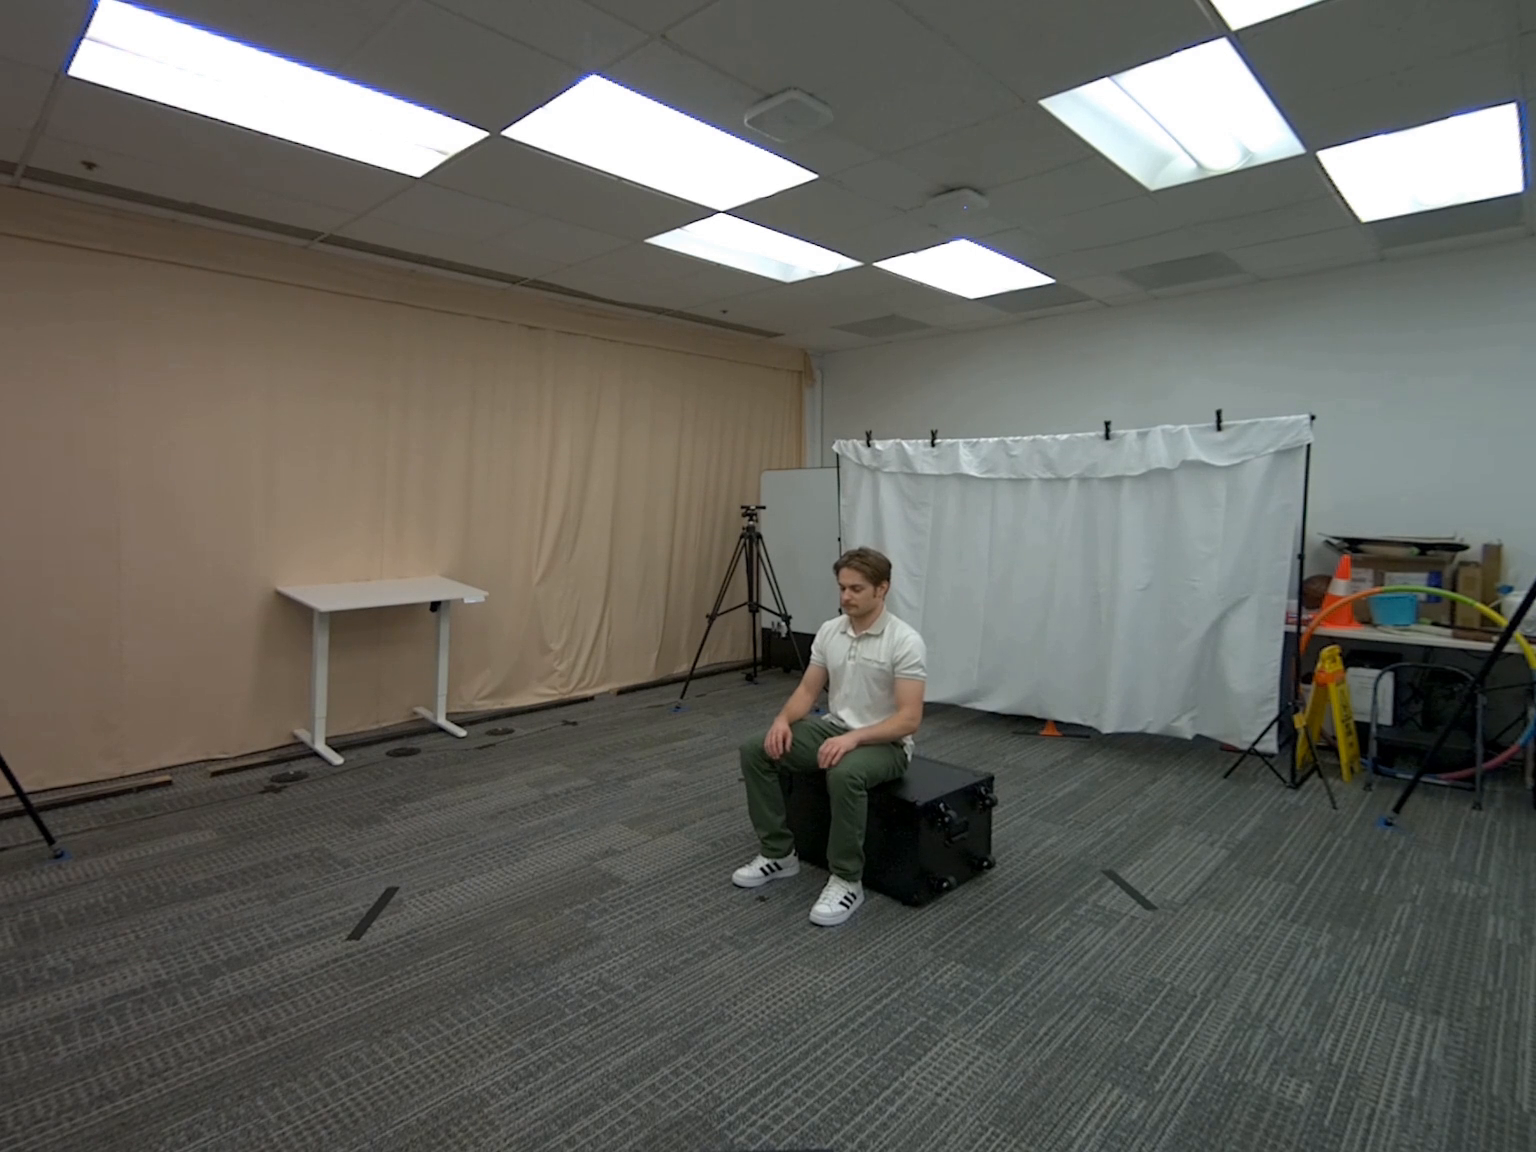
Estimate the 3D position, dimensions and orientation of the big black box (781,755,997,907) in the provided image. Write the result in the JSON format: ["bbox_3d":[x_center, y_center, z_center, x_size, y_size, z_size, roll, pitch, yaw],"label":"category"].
[{"bbox_3d":[0.430,0.923,3.291,0.507,0.384,0.897,-2,5,-44],"label":"big black box"}]
